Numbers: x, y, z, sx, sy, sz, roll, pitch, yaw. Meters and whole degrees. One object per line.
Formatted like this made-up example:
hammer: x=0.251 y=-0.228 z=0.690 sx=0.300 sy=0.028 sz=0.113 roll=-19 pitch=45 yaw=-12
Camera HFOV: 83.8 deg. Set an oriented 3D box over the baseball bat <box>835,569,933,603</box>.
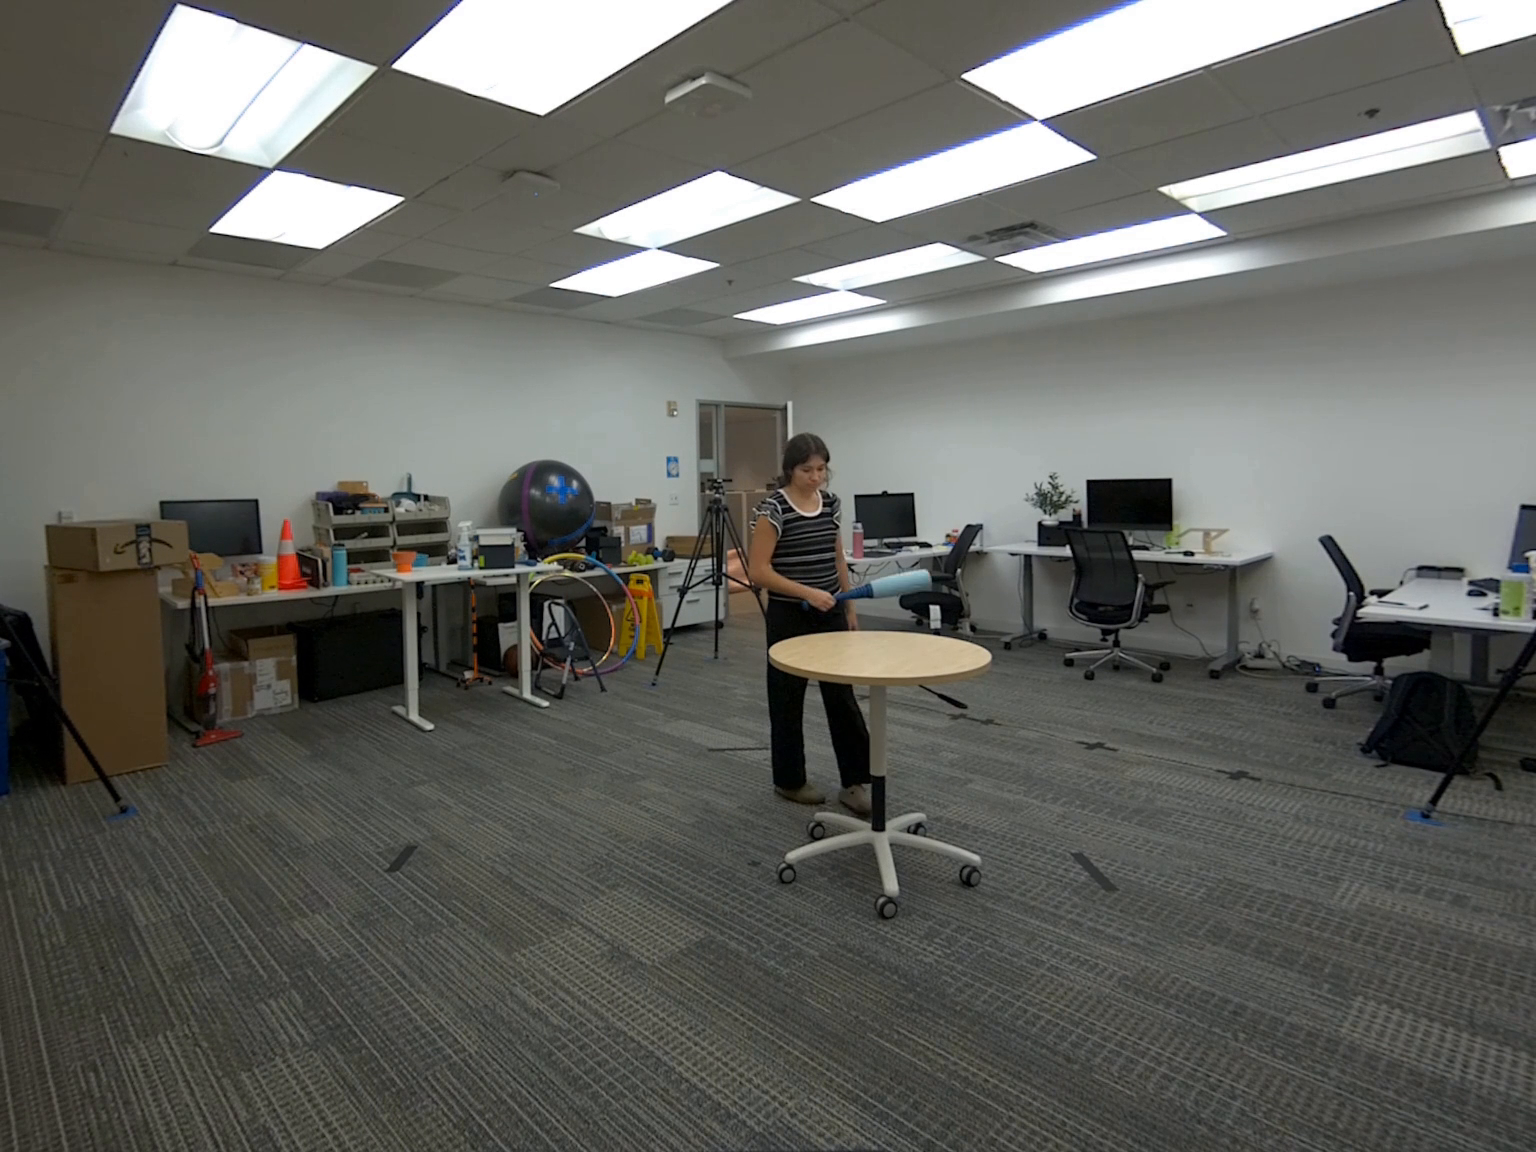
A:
baseball bat: x=0.401 y=0.081 z=3.512 sx=0.542 sy=0.088 sz=0.090 roll=-13 pitch=6 yaw=-3
